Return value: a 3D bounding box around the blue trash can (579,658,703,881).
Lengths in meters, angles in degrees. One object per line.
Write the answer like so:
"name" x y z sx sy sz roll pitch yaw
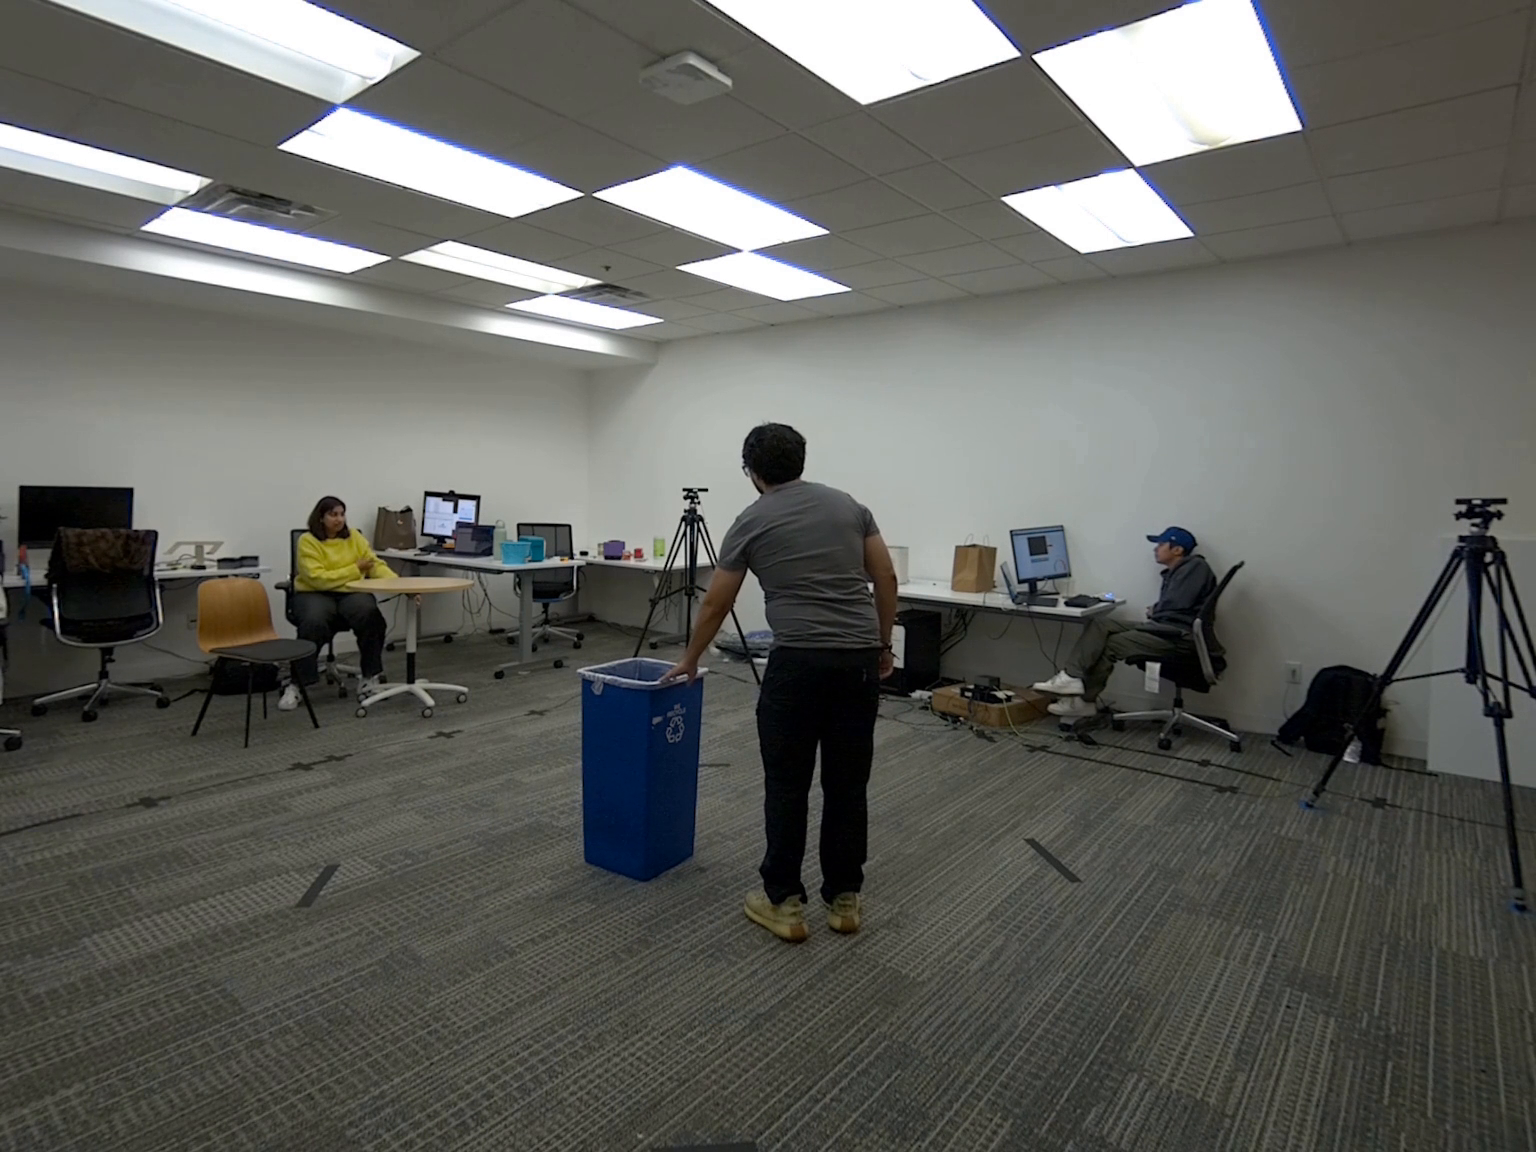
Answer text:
"blue trash can" -0.484 0.699 3.190 0.390 0.712 0.364 3 4 33
